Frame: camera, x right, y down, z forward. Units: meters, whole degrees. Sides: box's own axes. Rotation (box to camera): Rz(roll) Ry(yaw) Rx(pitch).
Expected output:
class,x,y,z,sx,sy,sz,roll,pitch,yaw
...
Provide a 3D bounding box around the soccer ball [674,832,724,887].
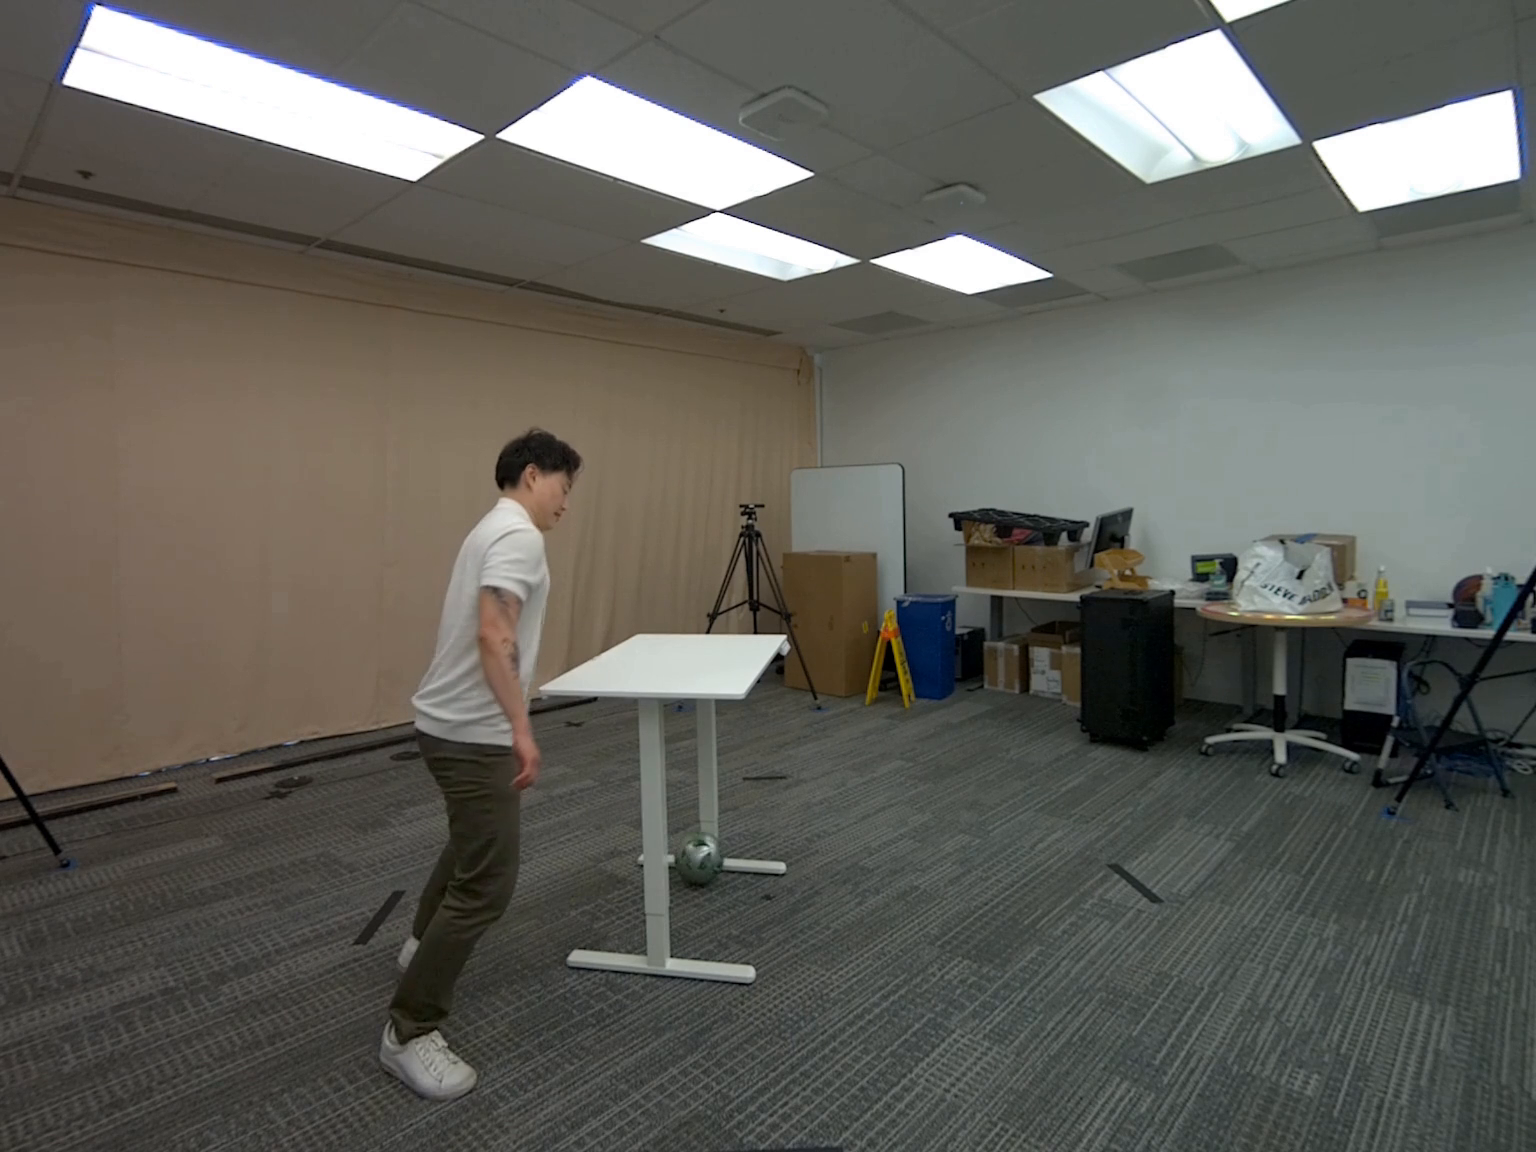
class,x,y,z,sx,sy,sz,roll,pitch,yaw
soccer ball,-0.266,1.042,3.091,0.187,0.187,0.188,-1,4,-2
